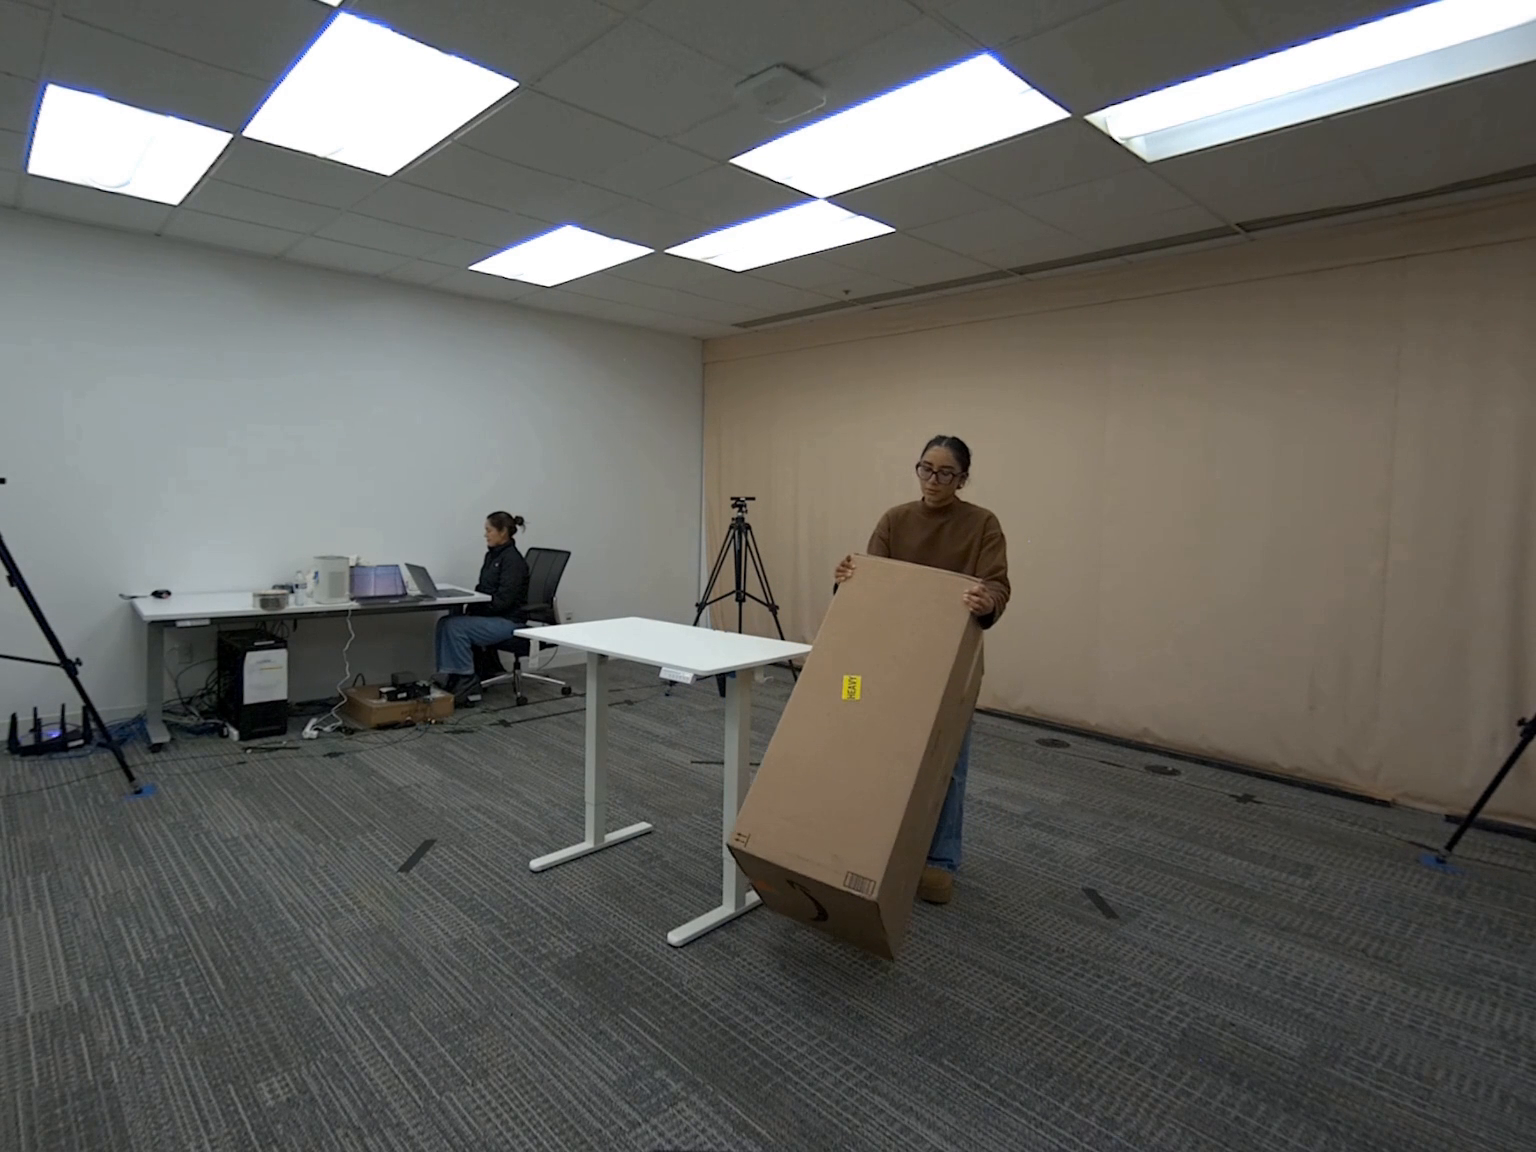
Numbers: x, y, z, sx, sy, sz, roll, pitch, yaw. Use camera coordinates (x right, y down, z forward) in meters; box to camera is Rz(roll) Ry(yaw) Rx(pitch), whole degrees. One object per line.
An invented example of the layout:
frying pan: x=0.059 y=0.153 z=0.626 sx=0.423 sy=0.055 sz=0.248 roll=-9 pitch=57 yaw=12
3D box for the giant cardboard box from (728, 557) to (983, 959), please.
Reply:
giant cardboard box: x=0.320 y=0.539 z=2.624 sx=0.435 sy=1.033 sz=0.561 roll=12 pitch=-33 yaw=23
